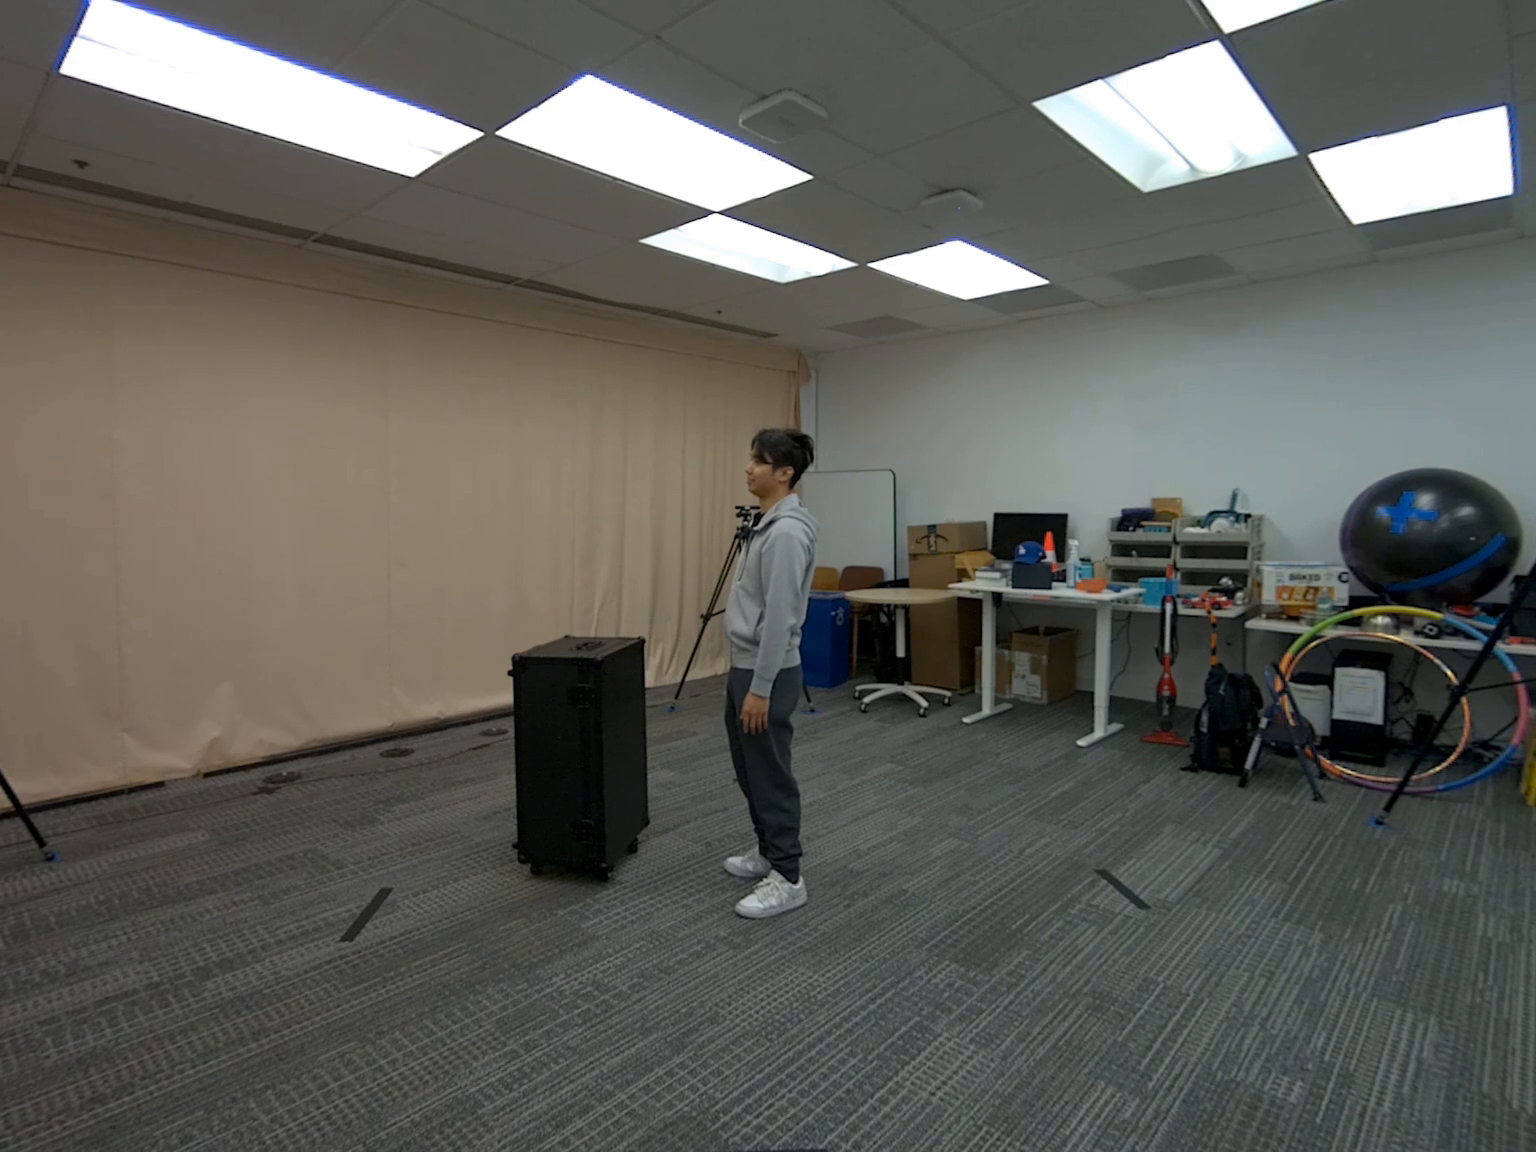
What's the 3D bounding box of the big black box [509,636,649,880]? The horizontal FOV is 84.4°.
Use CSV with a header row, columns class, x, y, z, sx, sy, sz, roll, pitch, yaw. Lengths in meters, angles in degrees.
class,x,y,z,sx,sy,sz,roll,pitch,yaw
big black box,-0.734,0.699,3.319,0.402,0.860,0.514,0,3,13
